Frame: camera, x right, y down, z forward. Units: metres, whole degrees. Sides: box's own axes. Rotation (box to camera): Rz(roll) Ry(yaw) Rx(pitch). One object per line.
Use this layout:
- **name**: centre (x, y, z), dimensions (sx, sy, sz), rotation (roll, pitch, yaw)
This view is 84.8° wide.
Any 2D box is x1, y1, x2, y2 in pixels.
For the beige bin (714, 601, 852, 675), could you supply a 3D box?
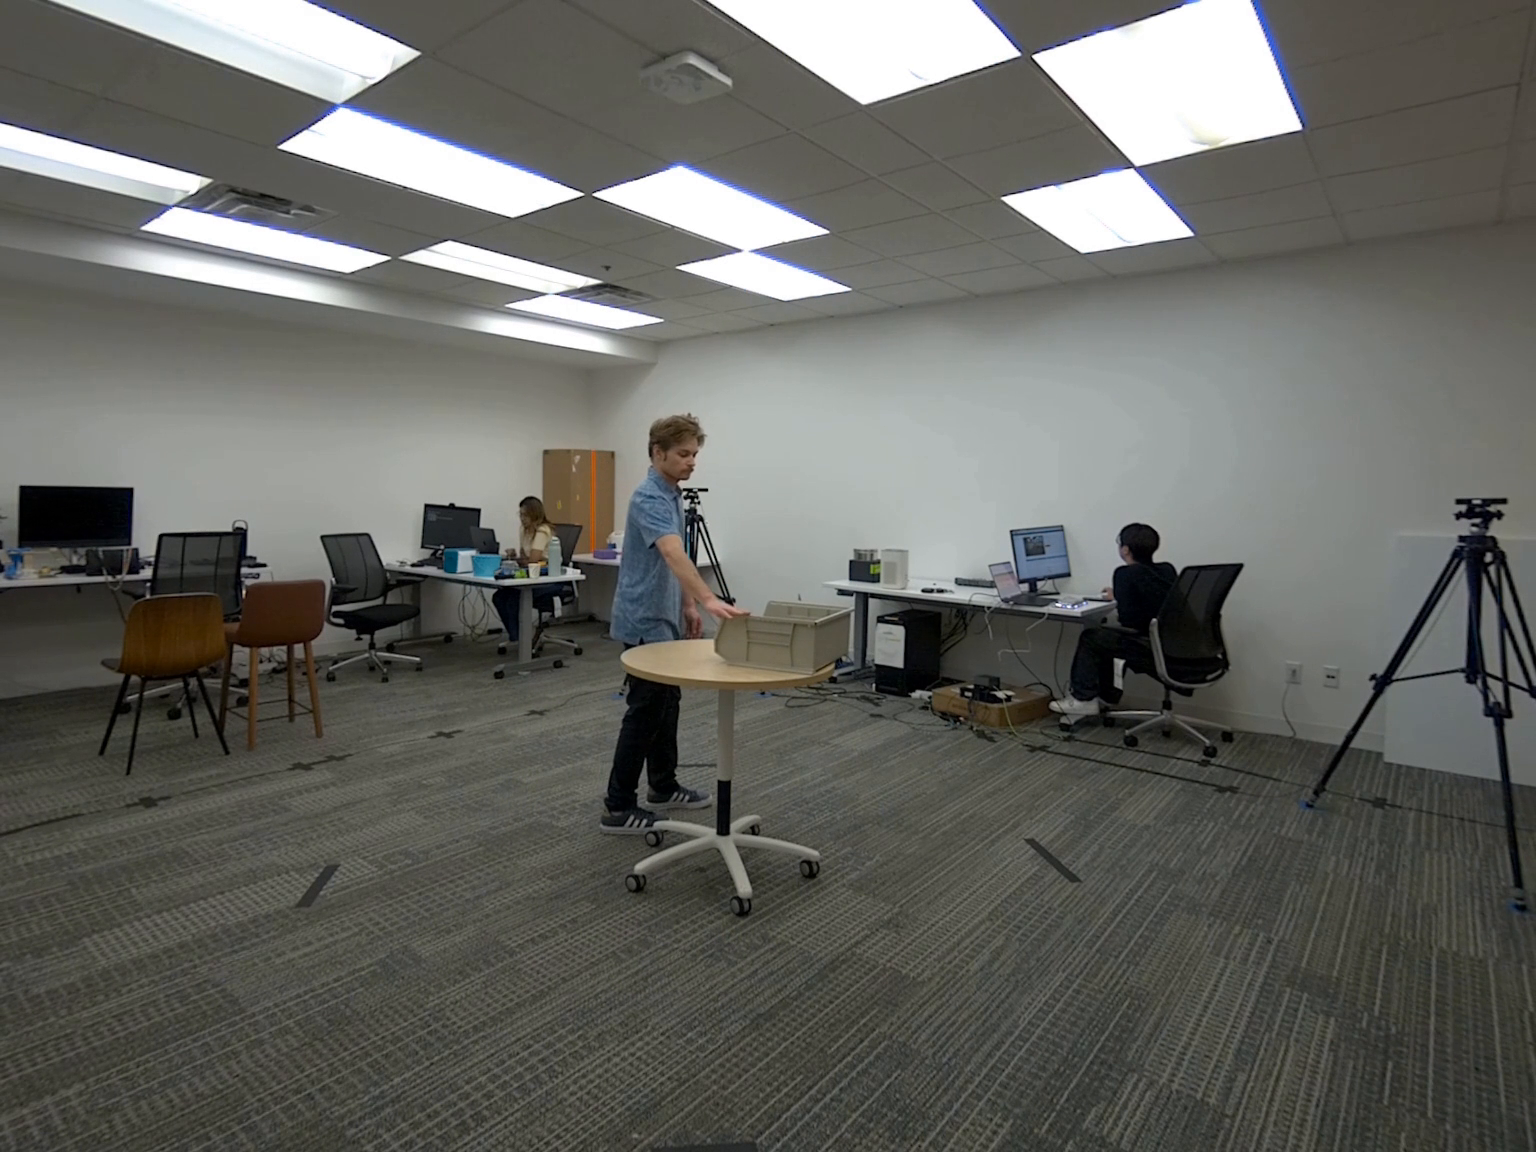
- **beige bin**: centre (0.054, 0.209, 3.055), dimensions (0.387, 0.188, 0.413), rotation (5, 6, 24)
